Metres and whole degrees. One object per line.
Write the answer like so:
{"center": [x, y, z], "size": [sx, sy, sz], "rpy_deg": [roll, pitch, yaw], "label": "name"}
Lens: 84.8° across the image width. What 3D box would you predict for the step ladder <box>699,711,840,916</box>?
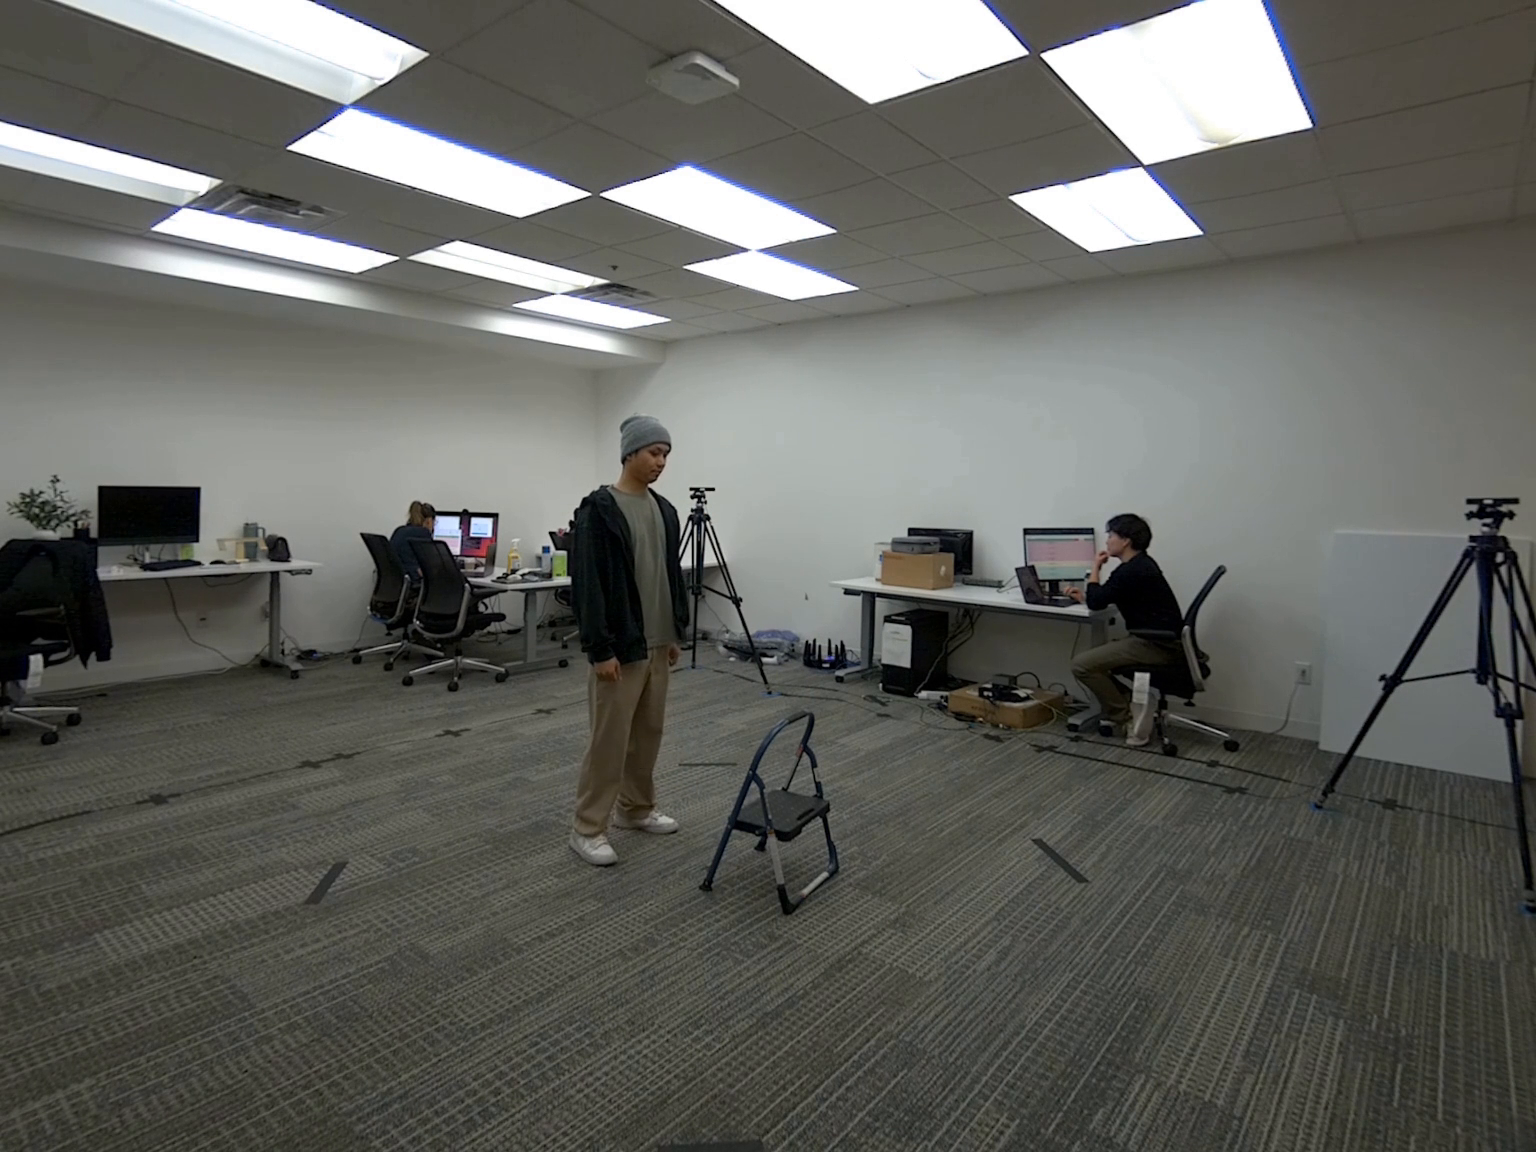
{"center": [0.014, 0.777, 3.018], "size": [0.359, 0.604, 0.420], "rpy_deg": [3, 4, 29], "label": "step ladder"}
